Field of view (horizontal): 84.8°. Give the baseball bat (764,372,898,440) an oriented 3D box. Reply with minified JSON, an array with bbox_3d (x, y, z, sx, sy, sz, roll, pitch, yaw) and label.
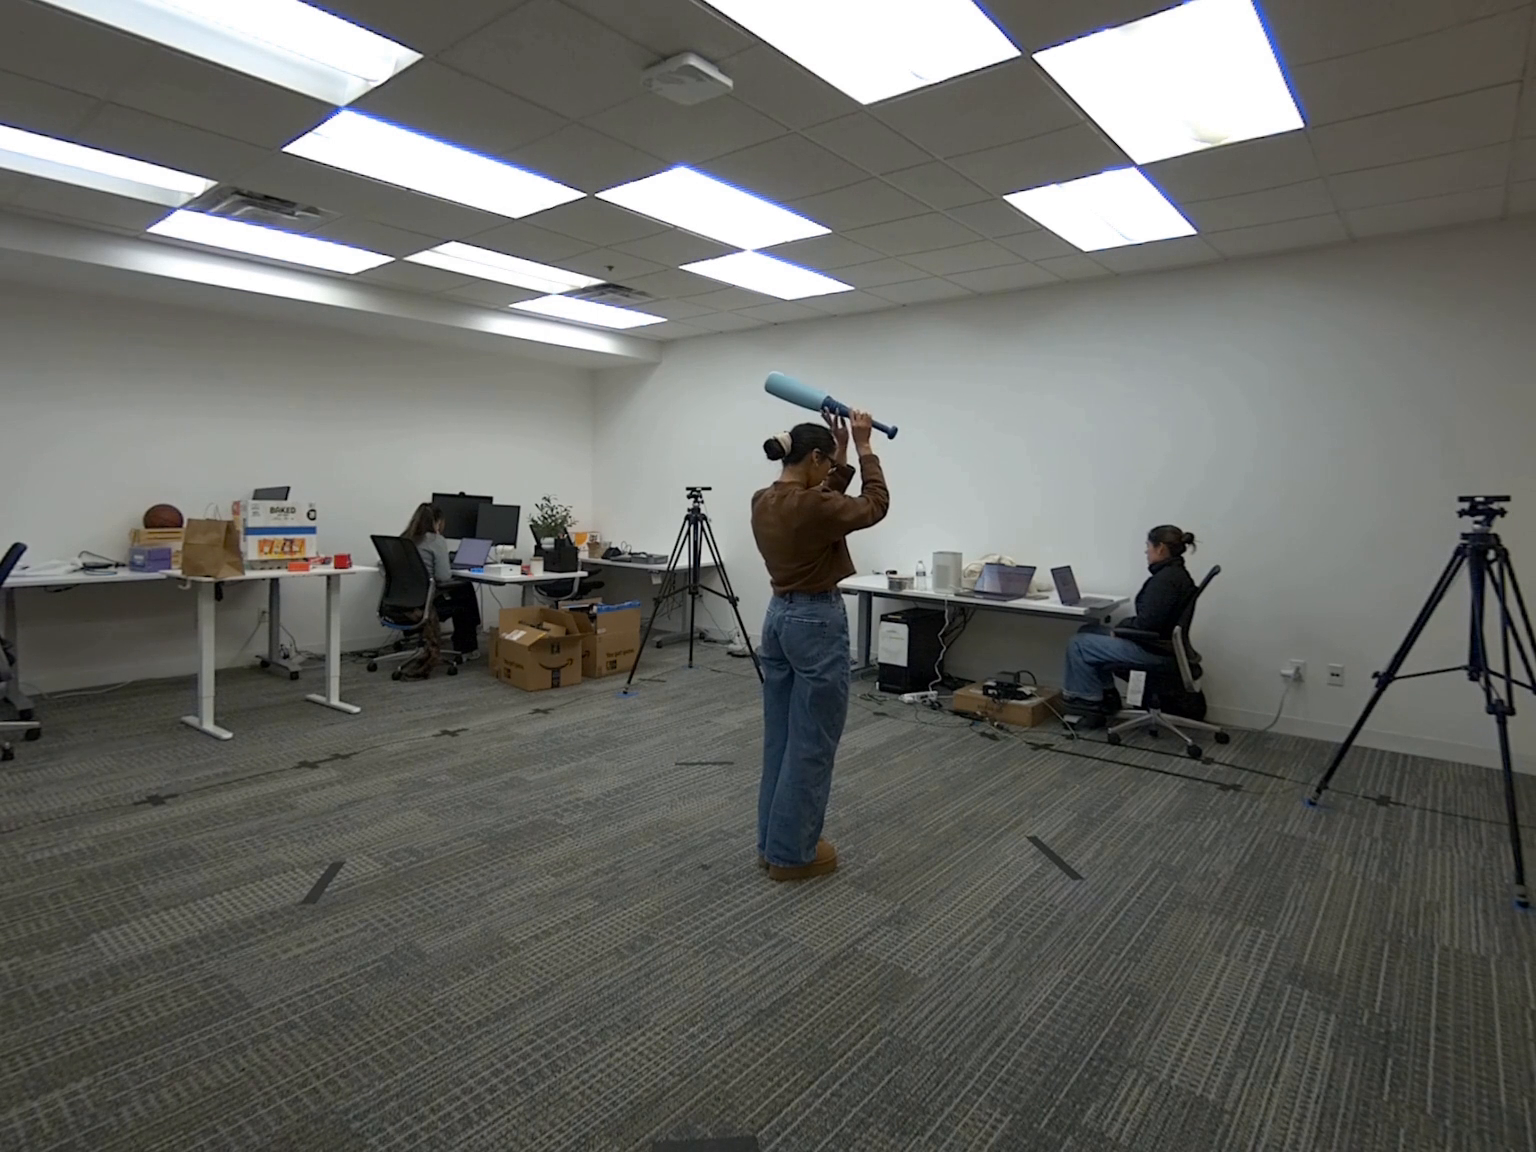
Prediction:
[{"bbox_3d":[0.228,-0.642,3.174,0.558,0.088,0.087,26,13,21],"label":"baseball bat"}]
